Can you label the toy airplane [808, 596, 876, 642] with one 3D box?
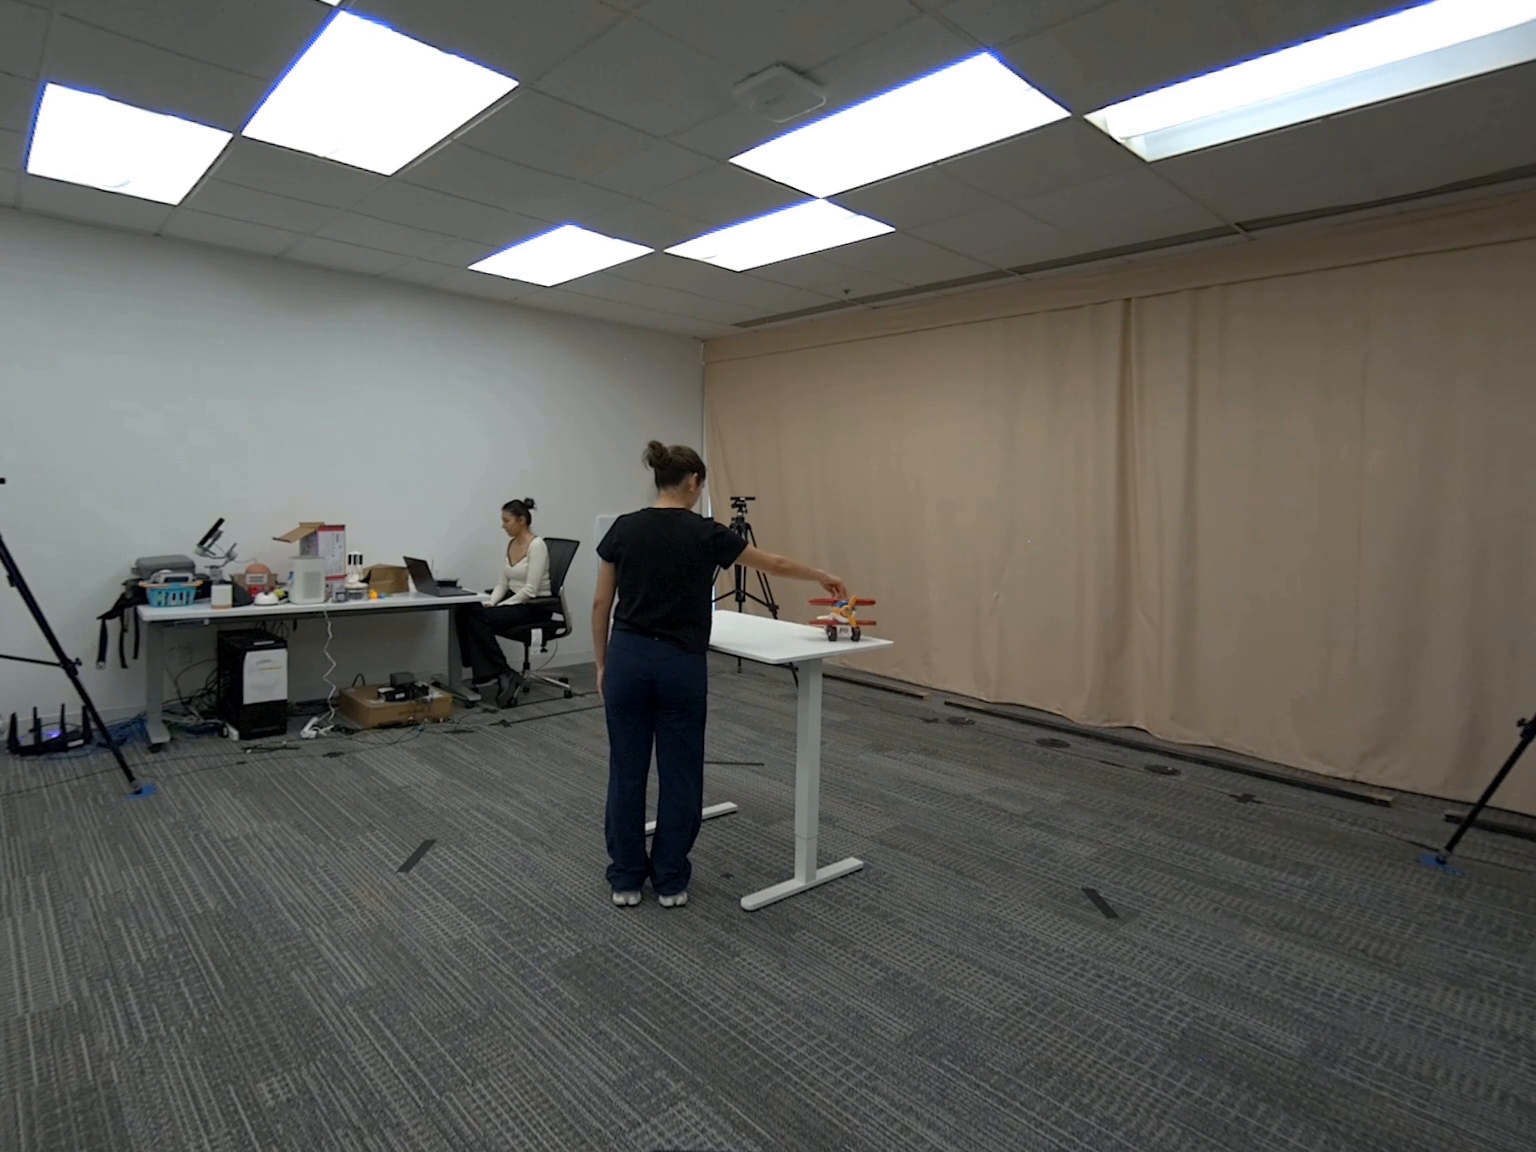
[{"bbox_3d":[0.247,0.156,3.134,0.246,0.156,0.265,-1,6,-33],"label":"toy airplane"}]
